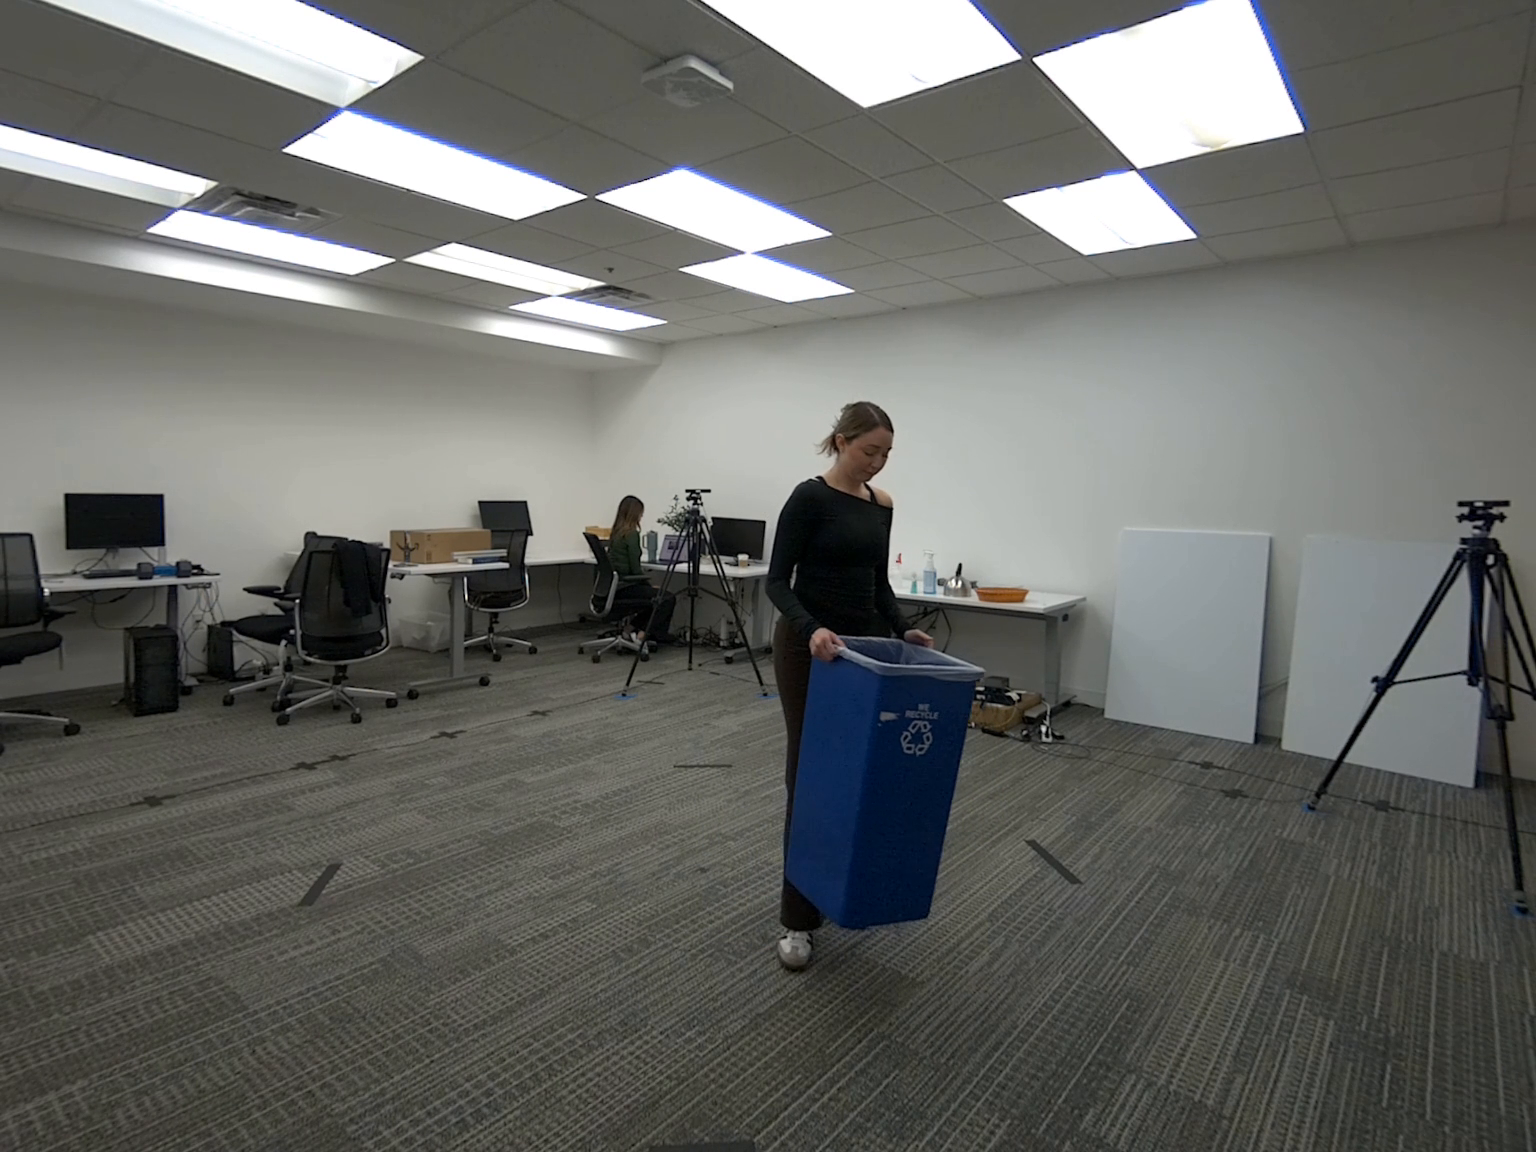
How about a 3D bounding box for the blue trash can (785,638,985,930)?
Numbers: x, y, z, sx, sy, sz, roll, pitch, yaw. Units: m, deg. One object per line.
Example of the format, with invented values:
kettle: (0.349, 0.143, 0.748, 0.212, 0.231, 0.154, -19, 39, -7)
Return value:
blue trash can: (0.300, 0.563, 2.399, 0.364, 0.711, 0.390, 5, 5, -28)
